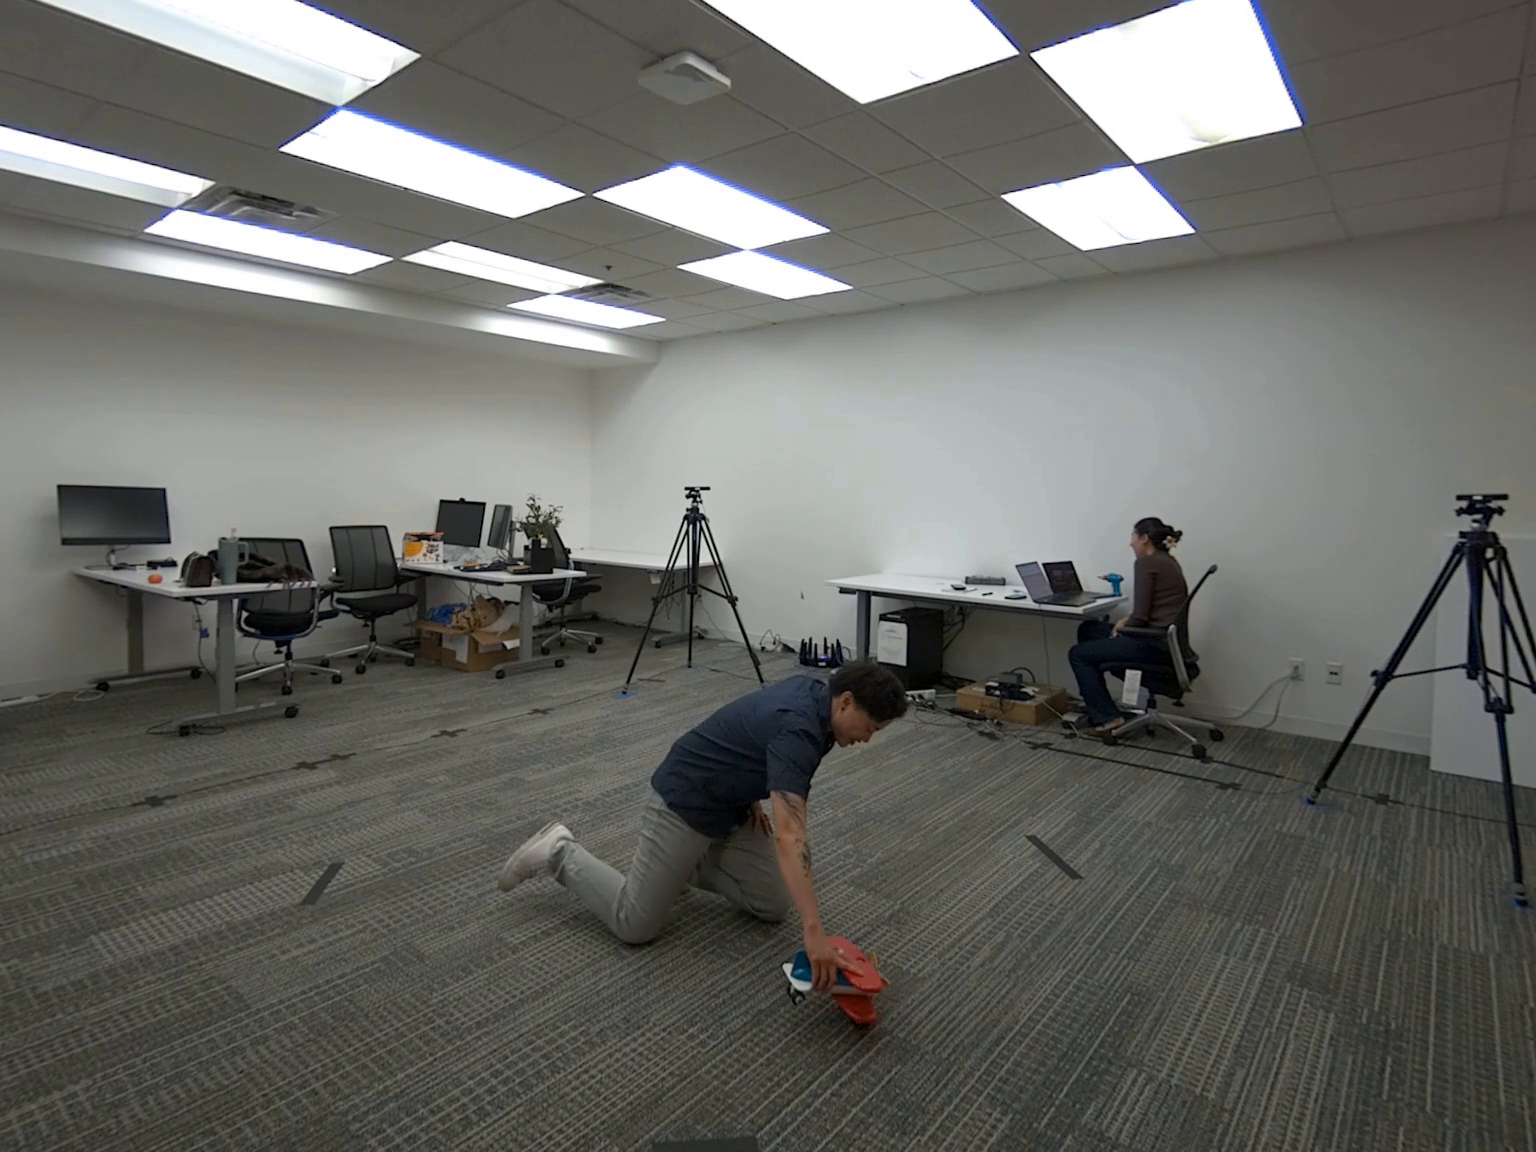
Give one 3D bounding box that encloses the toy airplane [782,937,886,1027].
[{"bbox_3d":[0.177,1.064,2.206,0.261,0.156,0.248,21,-4,44],"label":"toy airplane"}]
